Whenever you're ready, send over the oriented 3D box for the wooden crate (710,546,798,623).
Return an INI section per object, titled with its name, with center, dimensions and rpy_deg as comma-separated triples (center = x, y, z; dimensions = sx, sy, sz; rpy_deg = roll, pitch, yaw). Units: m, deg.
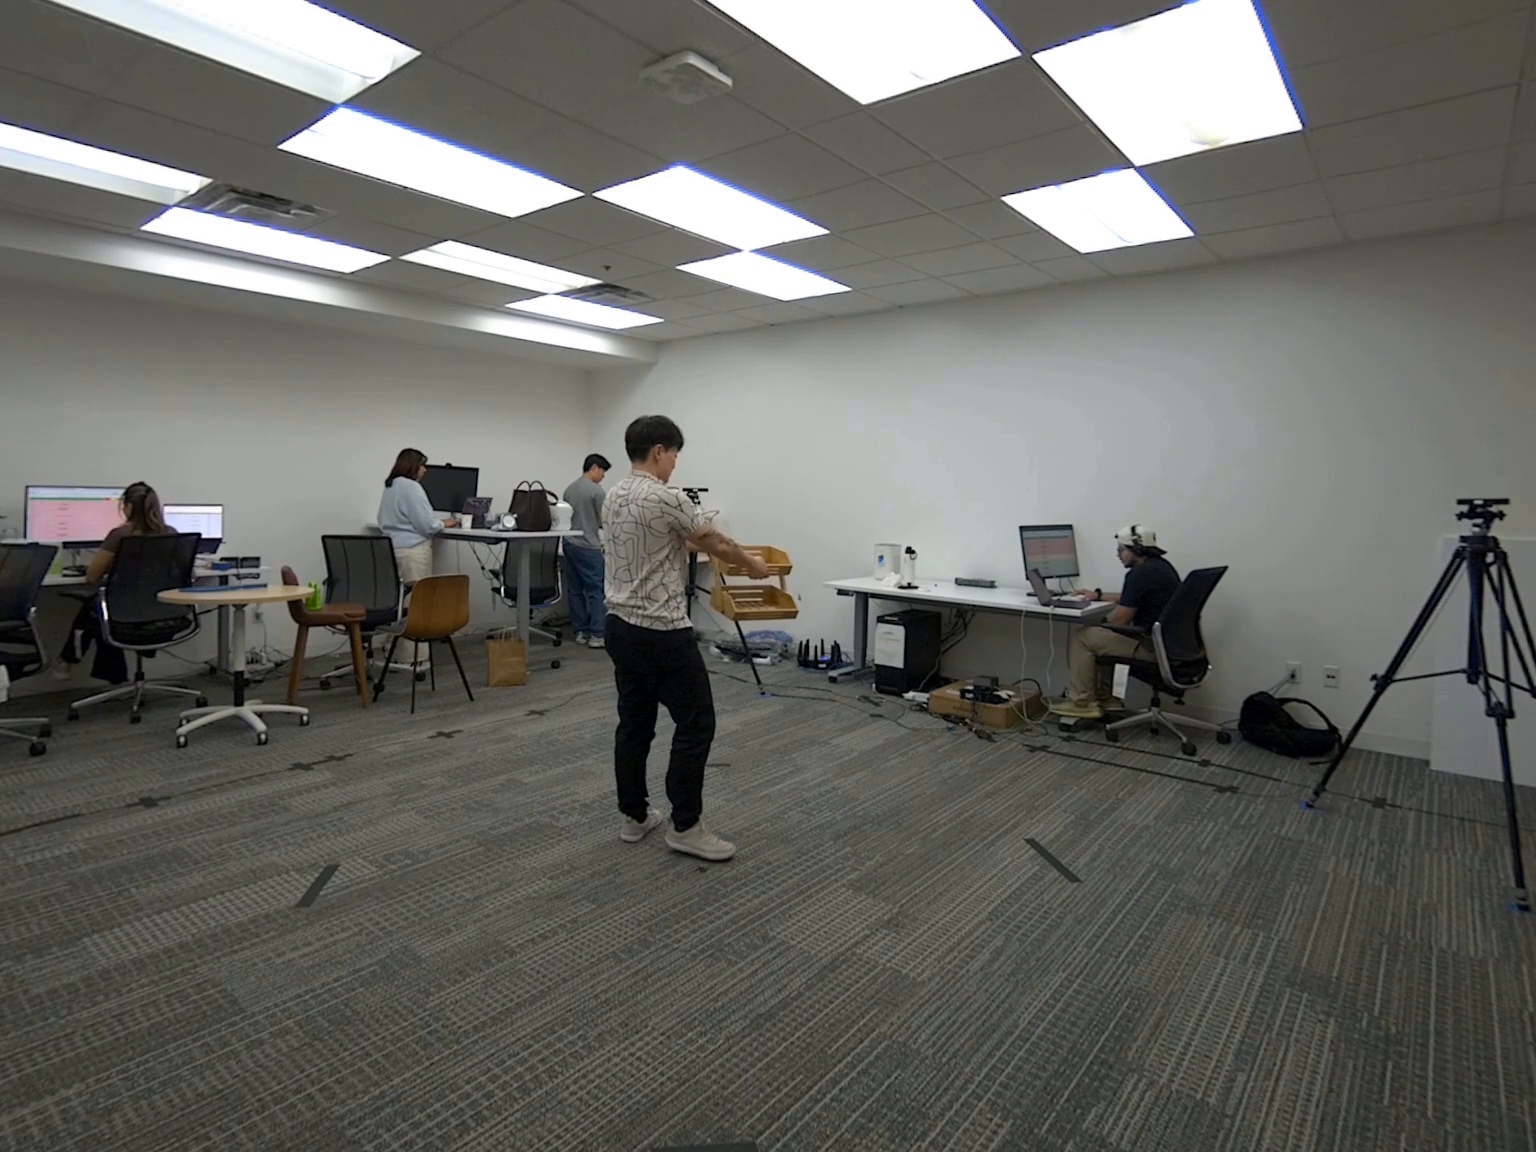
[wooden crate]
center = -0.064, 0.016, 3.631
dimensions = 0.316, 0.271, 0.312
rpy_deg = 0, 12, -27
